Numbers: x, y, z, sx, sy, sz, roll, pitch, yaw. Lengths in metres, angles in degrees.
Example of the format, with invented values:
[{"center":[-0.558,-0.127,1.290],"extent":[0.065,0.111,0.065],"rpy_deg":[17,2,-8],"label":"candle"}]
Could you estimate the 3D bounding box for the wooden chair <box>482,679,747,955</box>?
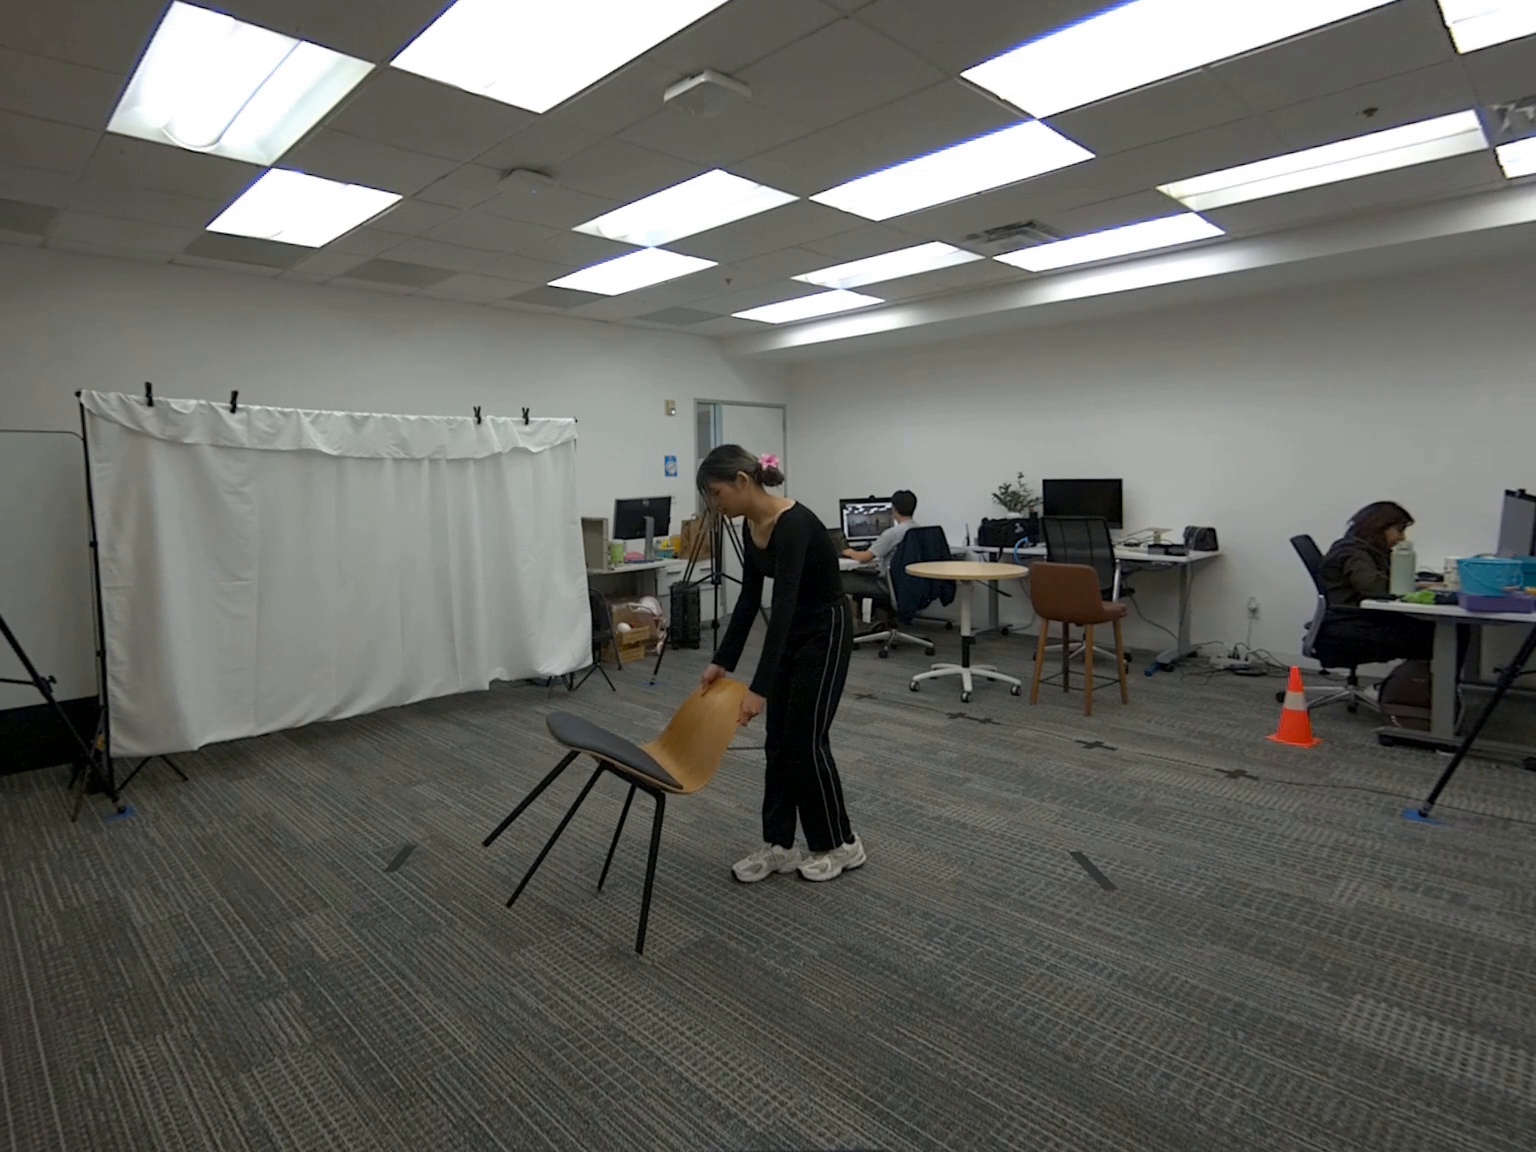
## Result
[{"center":[-0.455,0.610,2.694],"extent":[0.509,0.880,0.490],"rpy_deg":[35,-11,-23],"label":"wooden chair"}]
